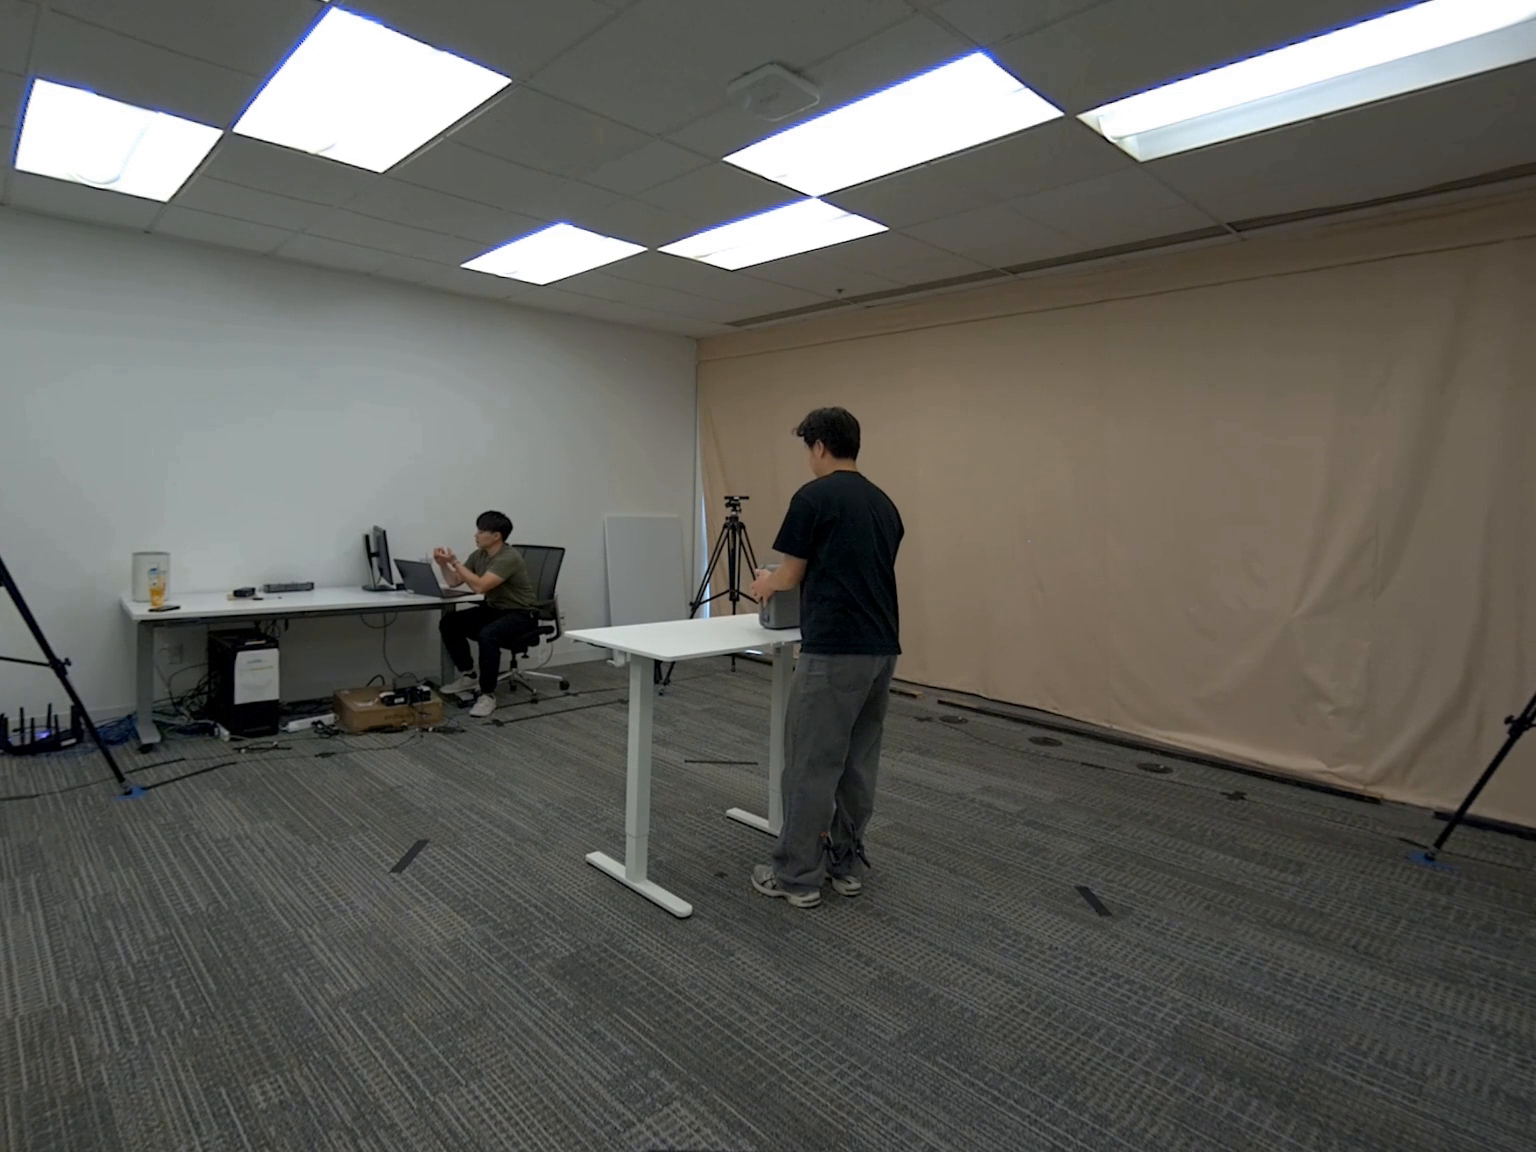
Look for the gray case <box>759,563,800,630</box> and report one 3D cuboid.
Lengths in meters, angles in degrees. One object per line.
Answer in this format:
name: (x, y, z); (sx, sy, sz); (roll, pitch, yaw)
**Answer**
gray case: (0.076, 0.079, 3.352); (0.251, 0.260, 0.107); (-3, 5, -43)
